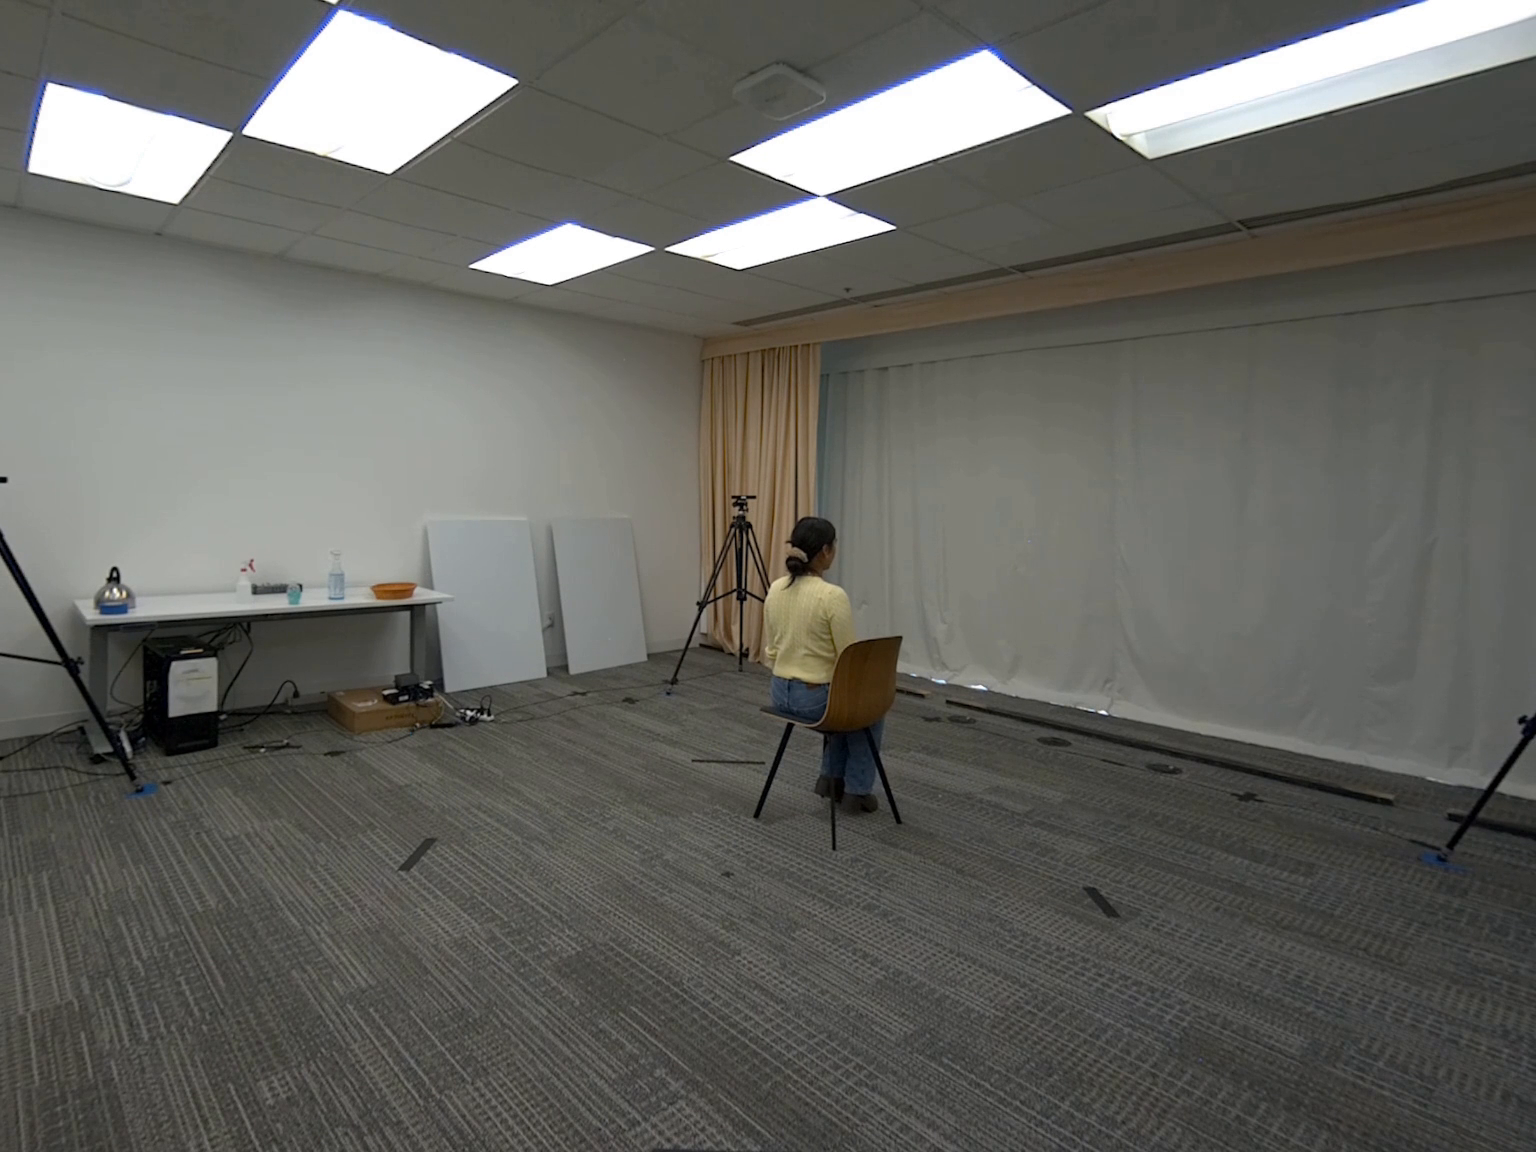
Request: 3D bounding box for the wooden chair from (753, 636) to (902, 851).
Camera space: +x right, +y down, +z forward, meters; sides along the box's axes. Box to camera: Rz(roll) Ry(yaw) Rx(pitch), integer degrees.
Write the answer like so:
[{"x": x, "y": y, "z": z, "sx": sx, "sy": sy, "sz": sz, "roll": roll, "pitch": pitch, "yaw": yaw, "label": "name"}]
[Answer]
[{"x": 0.254, "y": 0.640, "z": 3.623, "sx": 0.467, "sy": 0.874, "sz": 0.537, "roll": -1, "pitch": 8, "yaw": -44, "label": "wooden chair"}]
